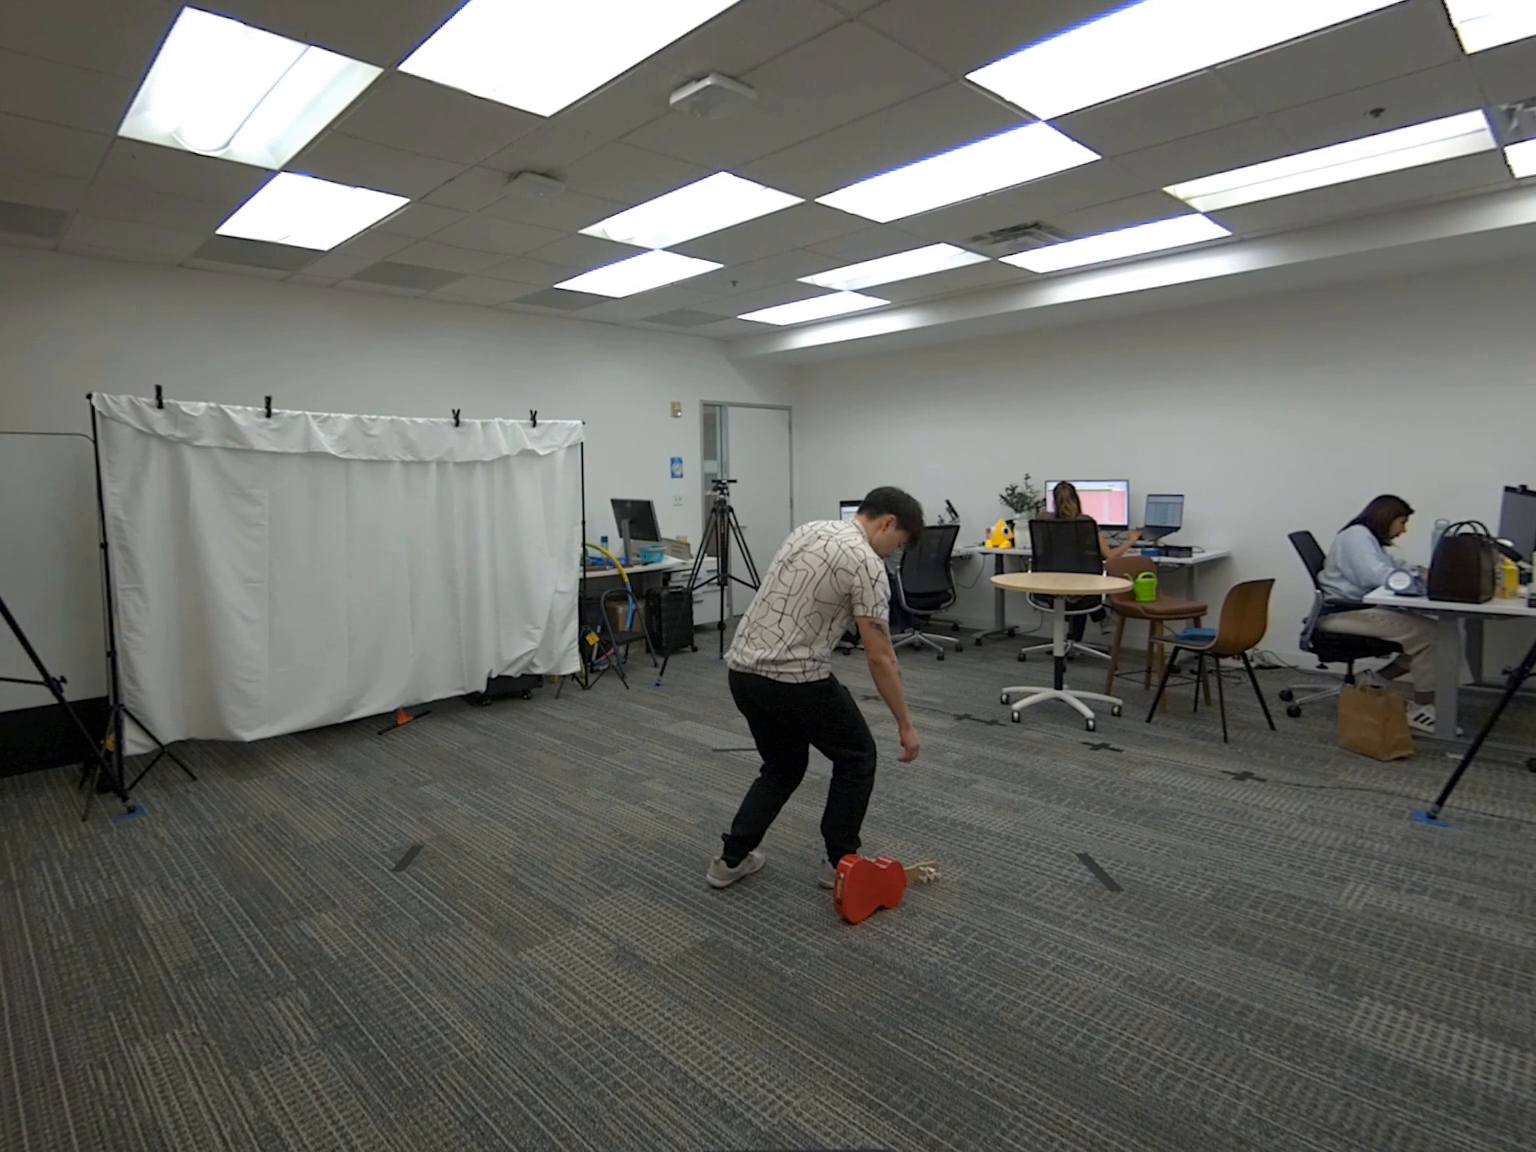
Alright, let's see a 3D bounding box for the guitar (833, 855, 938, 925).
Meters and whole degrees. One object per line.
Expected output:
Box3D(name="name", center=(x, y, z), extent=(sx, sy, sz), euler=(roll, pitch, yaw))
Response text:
Box3D(name="guitar", center=(0.415, 0.977, 2.821), extent=(0.485, 0.193, 0.072), euler=(-5, 1, -38))
